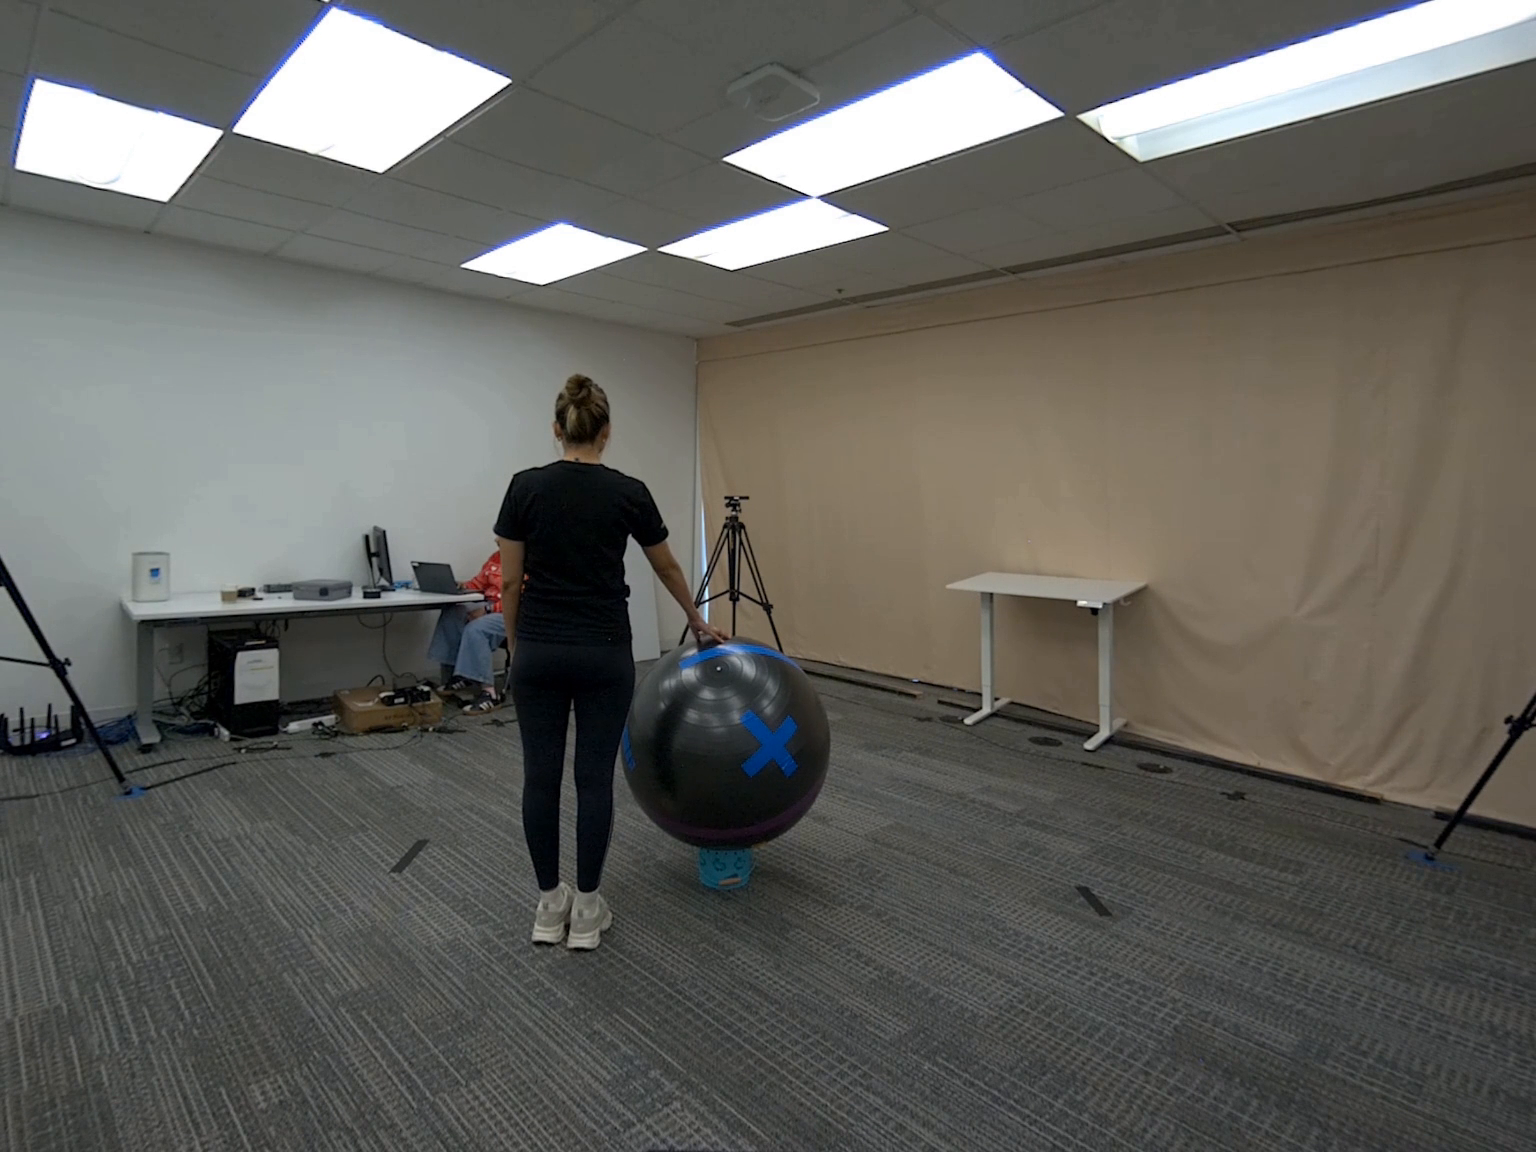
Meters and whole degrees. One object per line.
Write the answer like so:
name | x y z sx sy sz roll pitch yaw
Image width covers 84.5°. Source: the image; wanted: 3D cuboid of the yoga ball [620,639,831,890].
yoga ball | -0.158 0.604 3.046 0.757 0.756 0.761 1 4 -1
